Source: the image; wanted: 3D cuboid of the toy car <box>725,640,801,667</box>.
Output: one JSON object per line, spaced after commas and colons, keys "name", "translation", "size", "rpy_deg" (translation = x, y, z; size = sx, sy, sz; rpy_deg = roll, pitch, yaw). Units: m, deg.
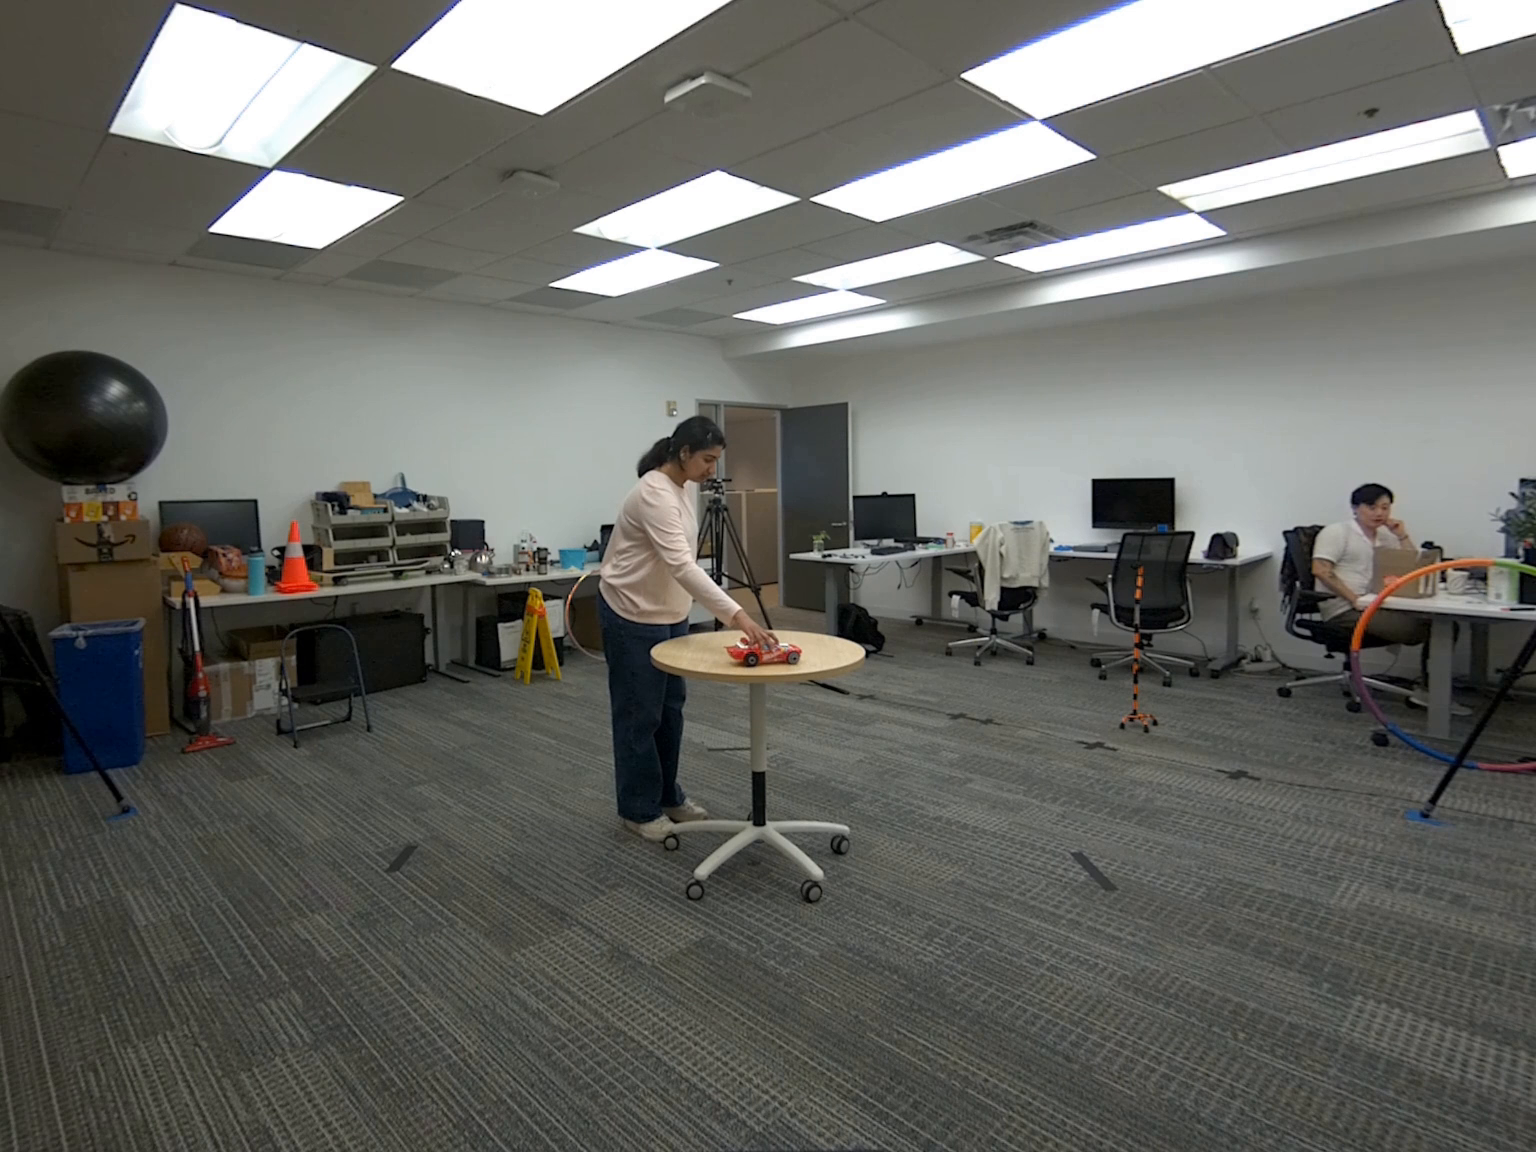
{"name": "toy car", "translation": [-0.019, 0.260, 2.853], "size": [0.250, 0.083, 0.132], "rpy_deg": [9, 3, -15]}
